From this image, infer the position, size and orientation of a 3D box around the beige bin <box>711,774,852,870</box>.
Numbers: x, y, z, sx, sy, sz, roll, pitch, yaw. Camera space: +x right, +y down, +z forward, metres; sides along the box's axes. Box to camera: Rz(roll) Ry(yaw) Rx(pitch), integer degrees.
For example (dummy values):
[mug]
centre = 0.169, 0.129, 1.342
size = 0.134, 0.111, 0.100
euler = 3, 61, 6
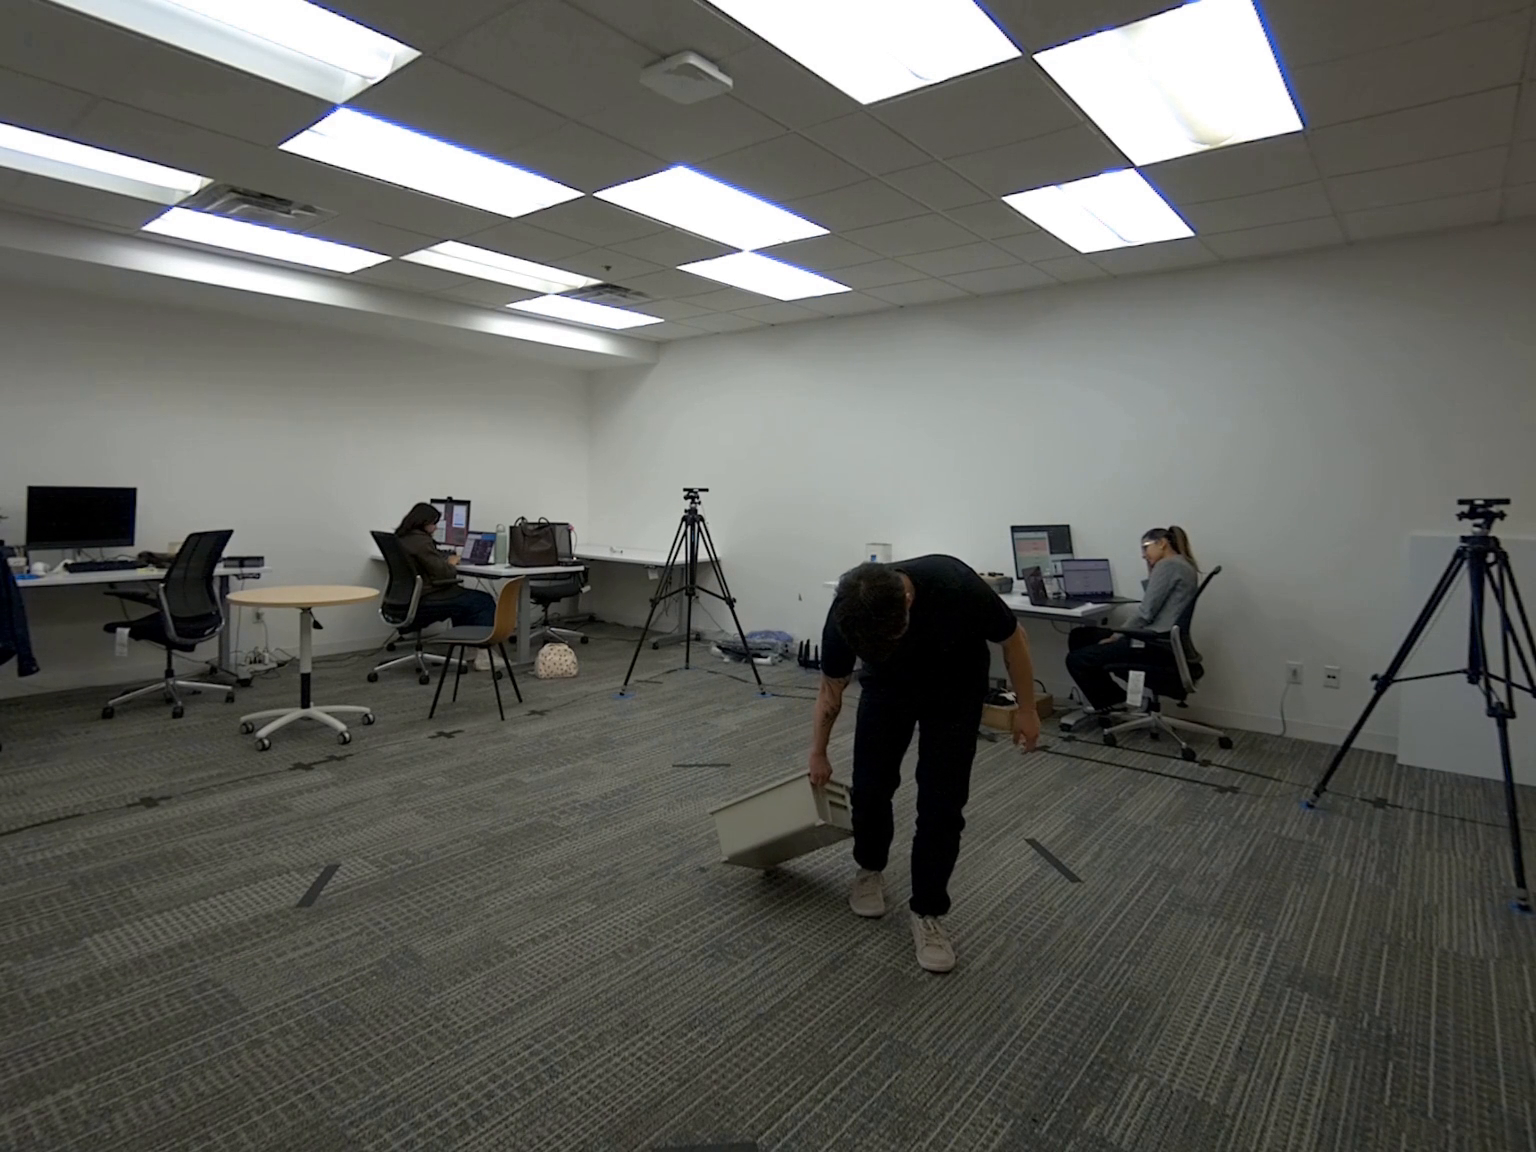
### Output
[beige bin]
centre = 0.069, 0.866, 2.982
size = 0.427, 0.195, 0.362
euler = -26, -33, 21
